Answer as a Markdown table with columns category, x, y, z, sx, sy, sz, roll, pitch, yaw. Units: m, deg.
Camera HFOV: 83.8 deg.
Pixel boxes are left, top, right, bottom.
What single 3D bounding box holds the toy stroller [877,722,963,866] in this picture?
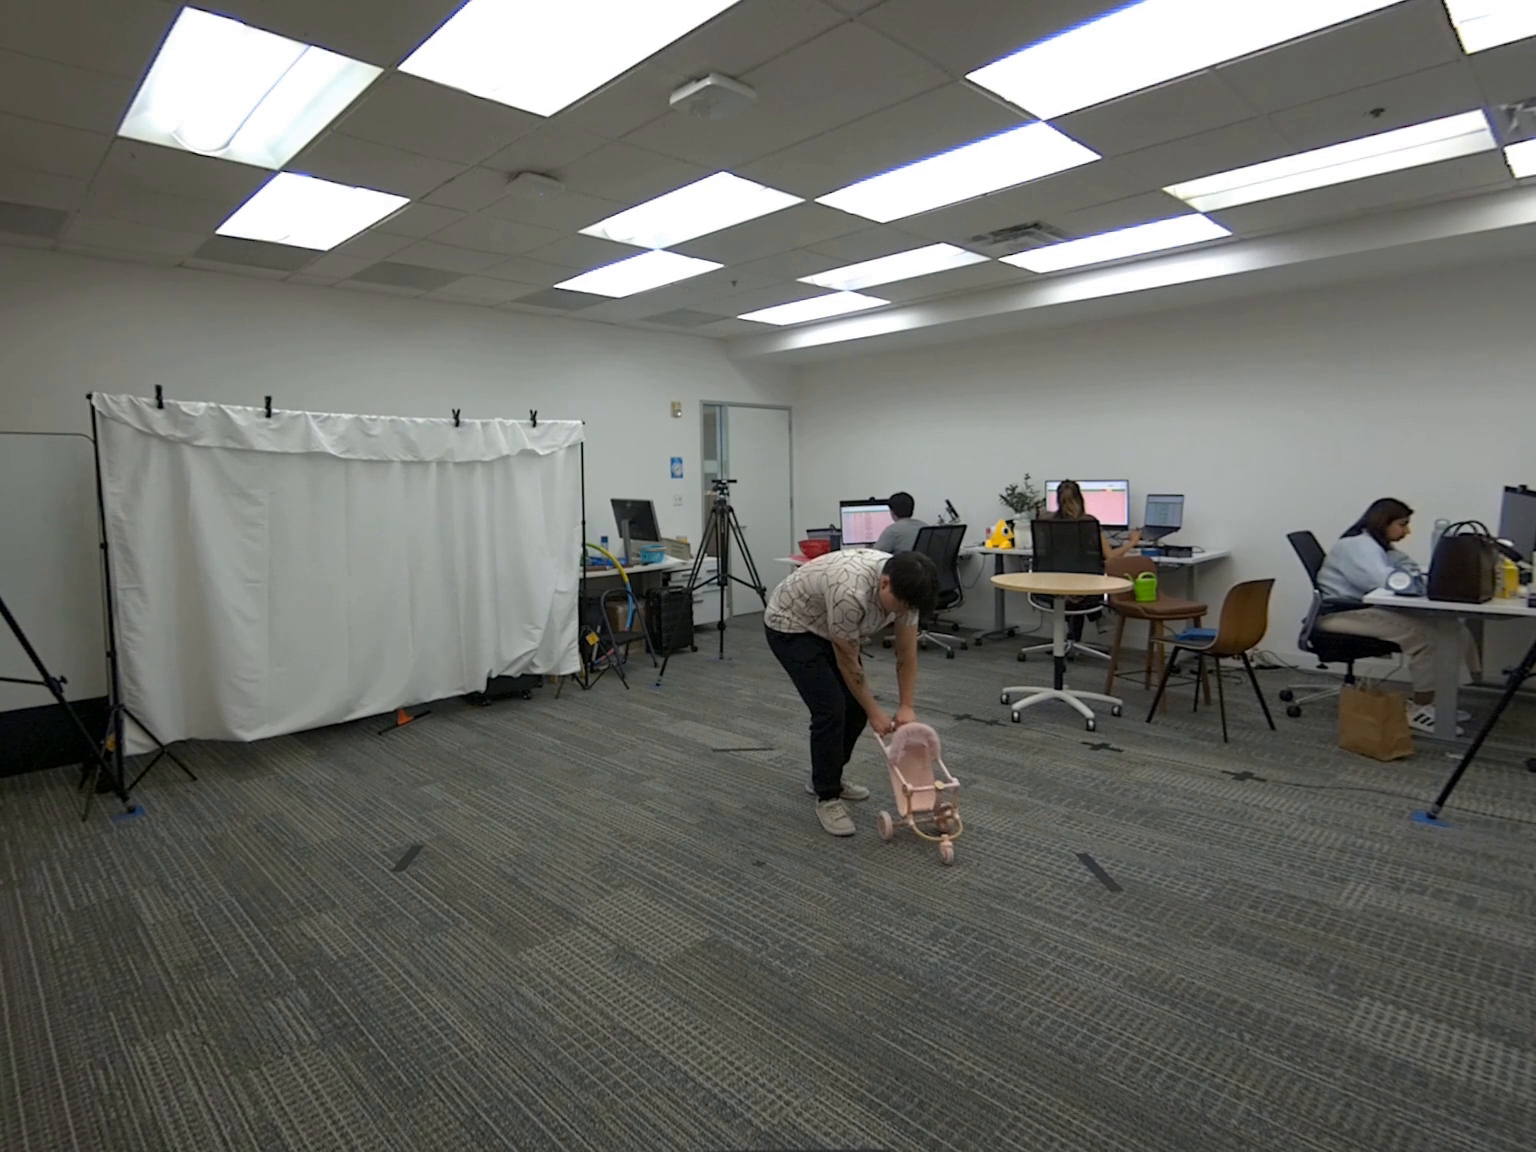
| category | x | y | z | sx | sy | sz | roll | pitch | yaw |
| --- | --- | --- | --- | --- | --- | --- | --- | --- | --- |
| toy stroller | 0.582 | 0.804 | 3.260 | 0.279 | 0.543 | 0.339 | -3 | -15 | -11 |
